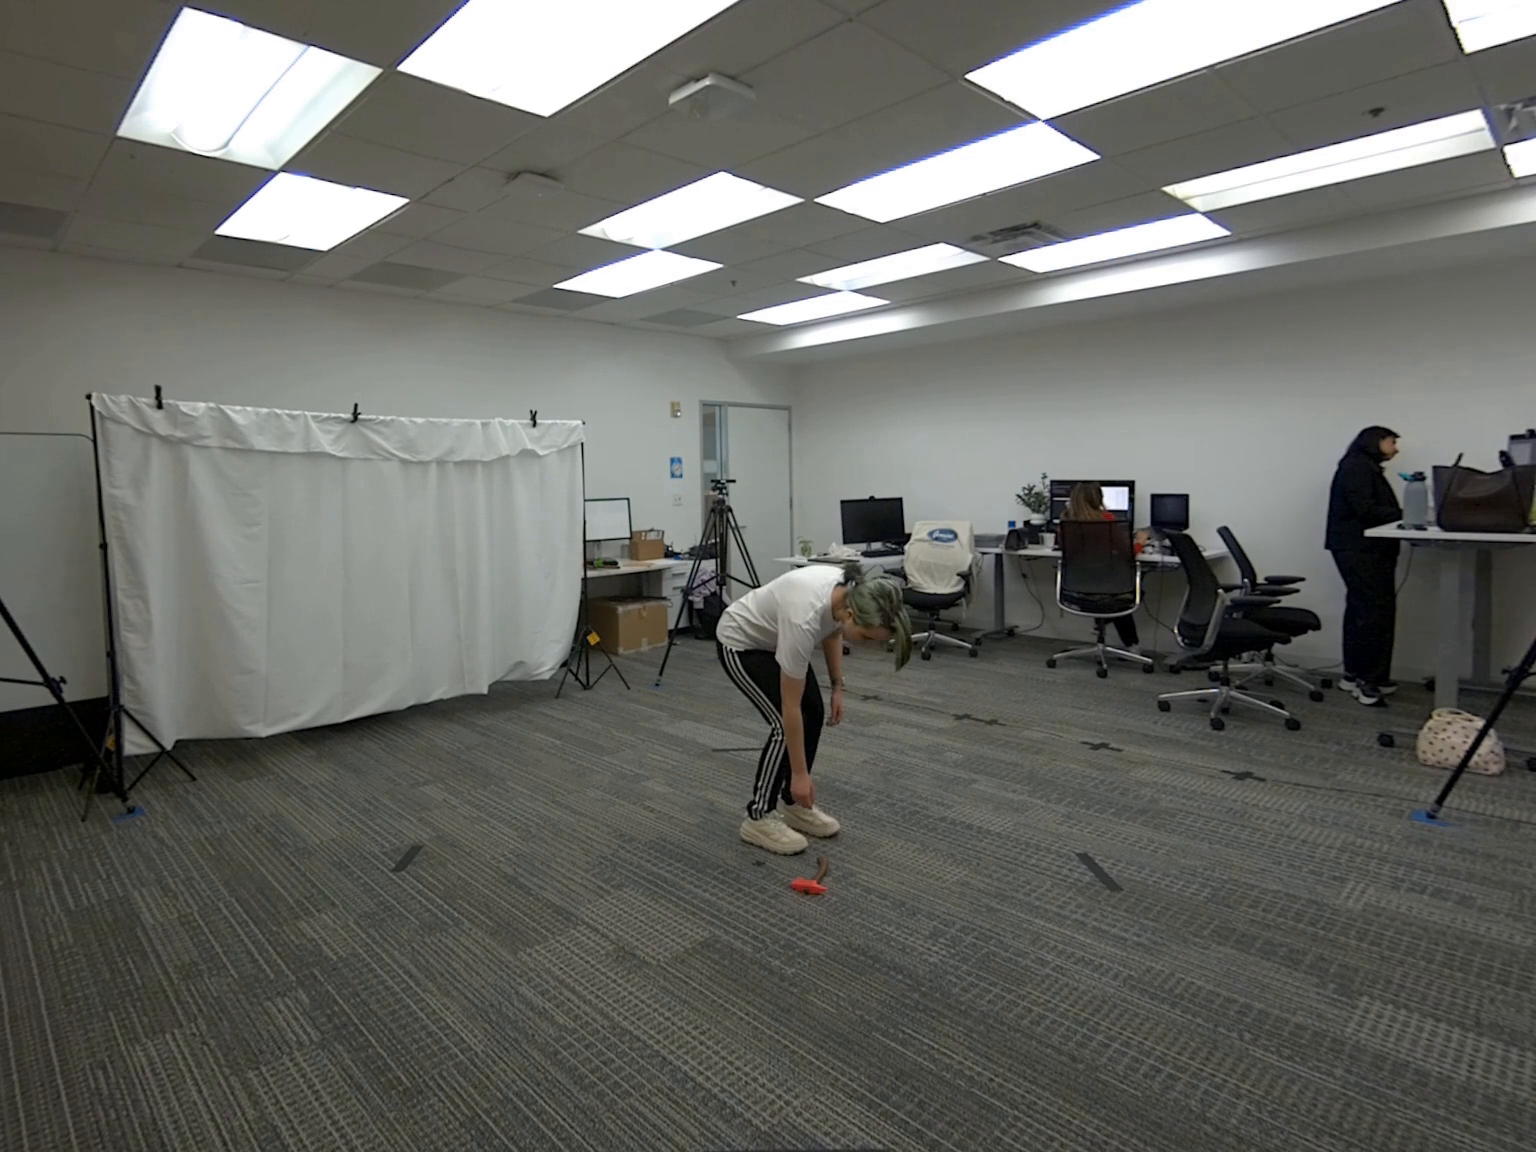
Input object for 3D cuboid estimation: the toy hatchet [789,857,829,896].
[{"bbox_3d":[0.143,1.053,2.999,0.132,0.029,0.269,-5,2,5],"label":"toy hatchet"}]
